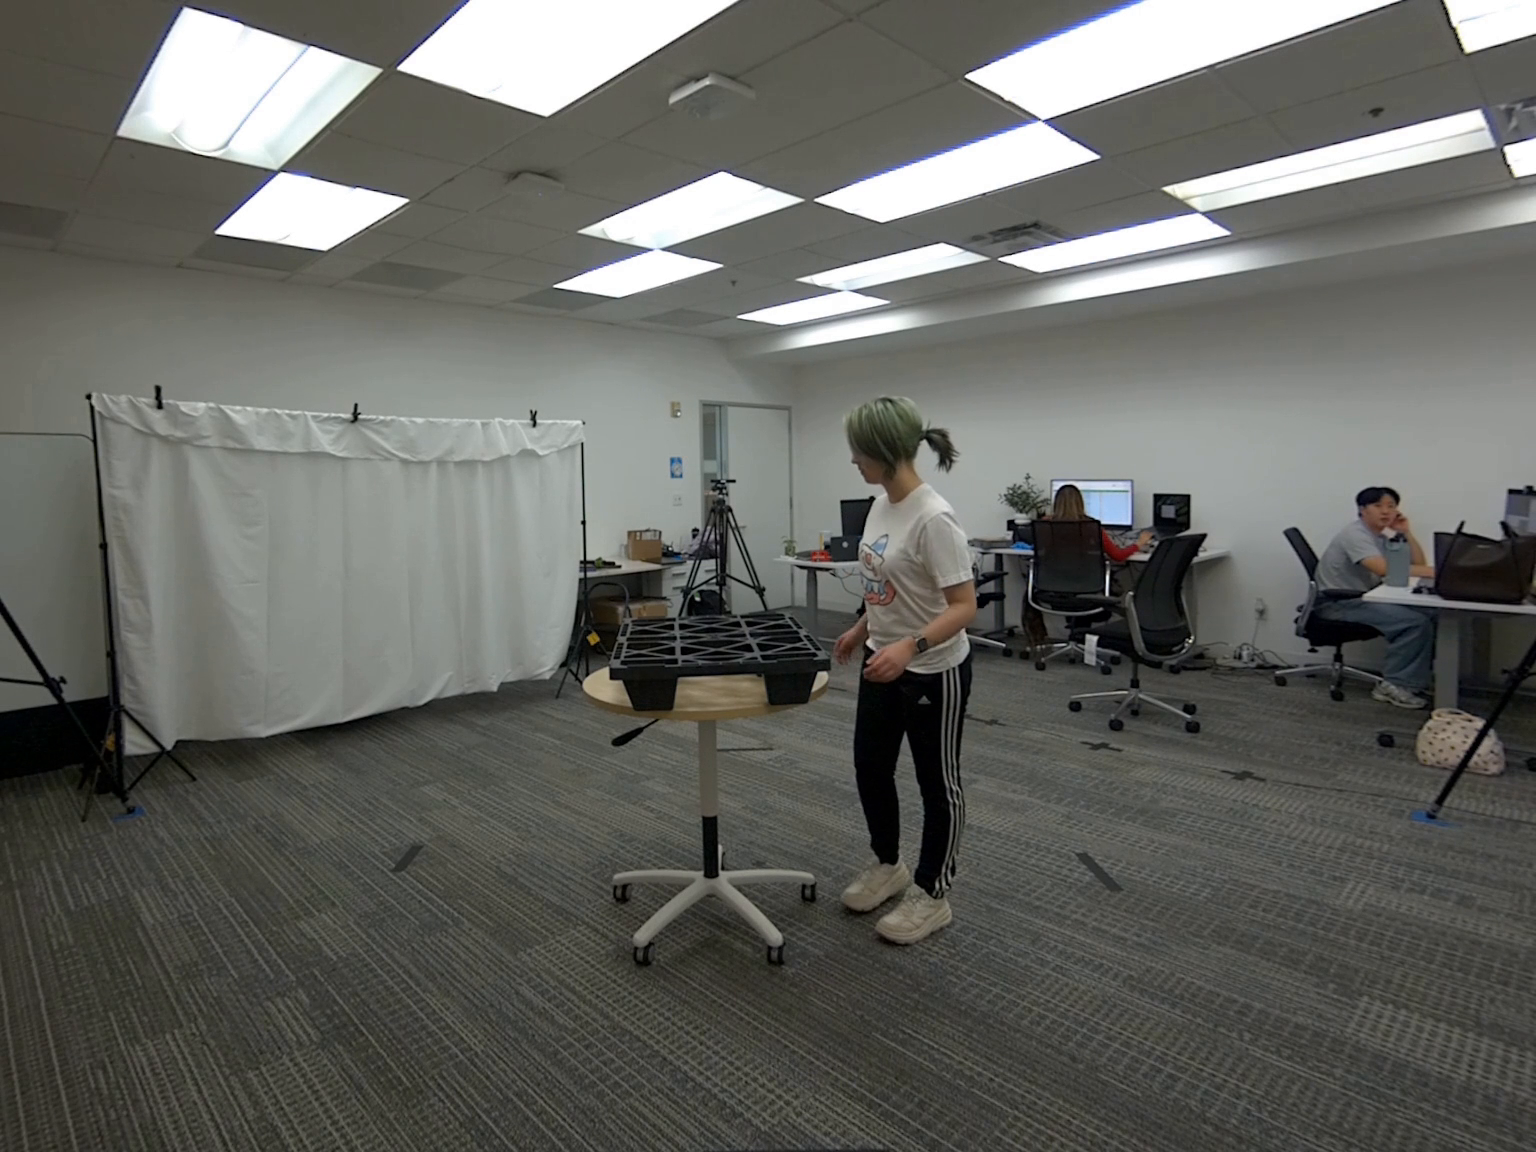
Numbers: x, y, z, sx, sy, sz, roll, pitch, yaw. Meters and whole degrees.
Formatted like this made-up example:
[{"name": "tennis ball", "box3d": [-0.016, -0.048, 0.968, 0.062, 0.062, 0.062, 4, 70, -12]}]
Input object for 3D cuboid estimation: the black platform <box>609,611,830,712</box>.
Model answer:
[{"name": "black platform", "box3d": [-0.171, 0.252, 2.666, 0.603, 0.142, 0.813, -3, 6, -5]}]
